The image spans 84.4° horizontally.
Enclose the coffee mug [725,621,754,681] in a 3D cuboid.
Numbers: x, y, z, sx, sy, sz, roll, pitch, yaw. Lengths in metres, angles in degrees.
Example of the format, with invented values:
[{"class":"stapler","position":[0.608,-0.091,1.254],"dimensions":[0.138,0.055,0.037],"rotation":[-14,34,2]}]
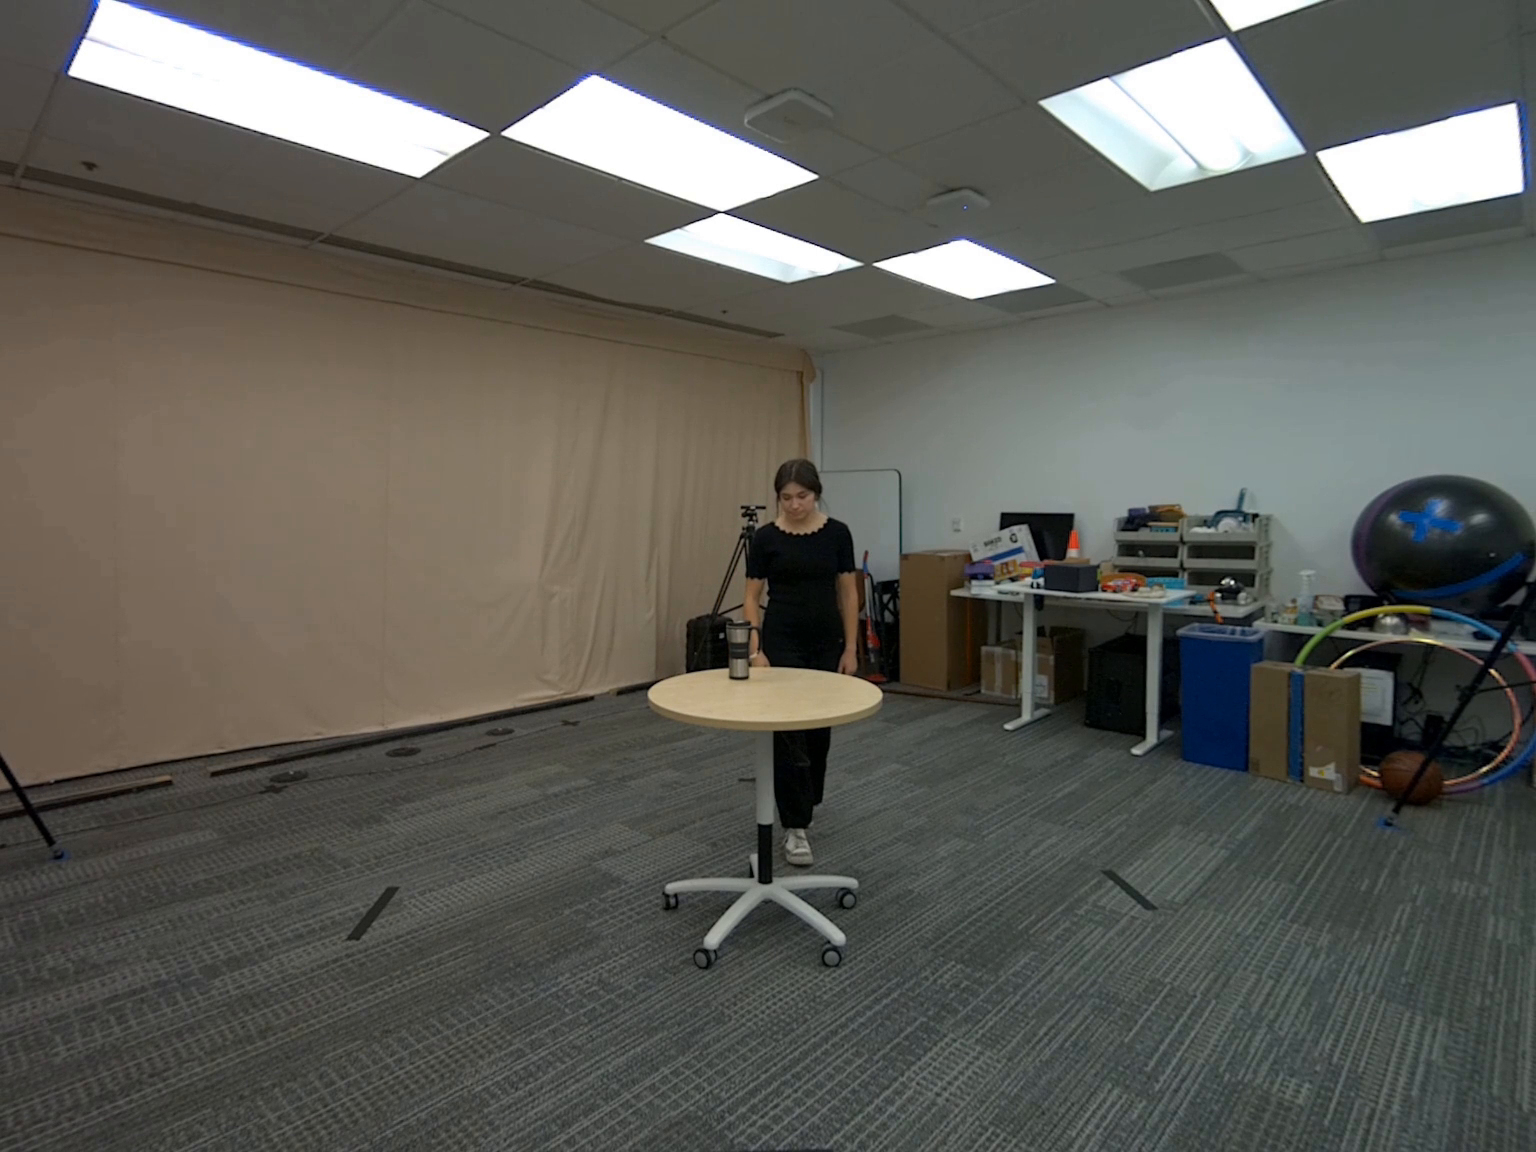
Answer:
[{"class":"coffee mug","position":[-0.085,0.262,2.952],"dimensions":[0.126,0.203,0.085],"rotation":[-3,-4,42]}]
